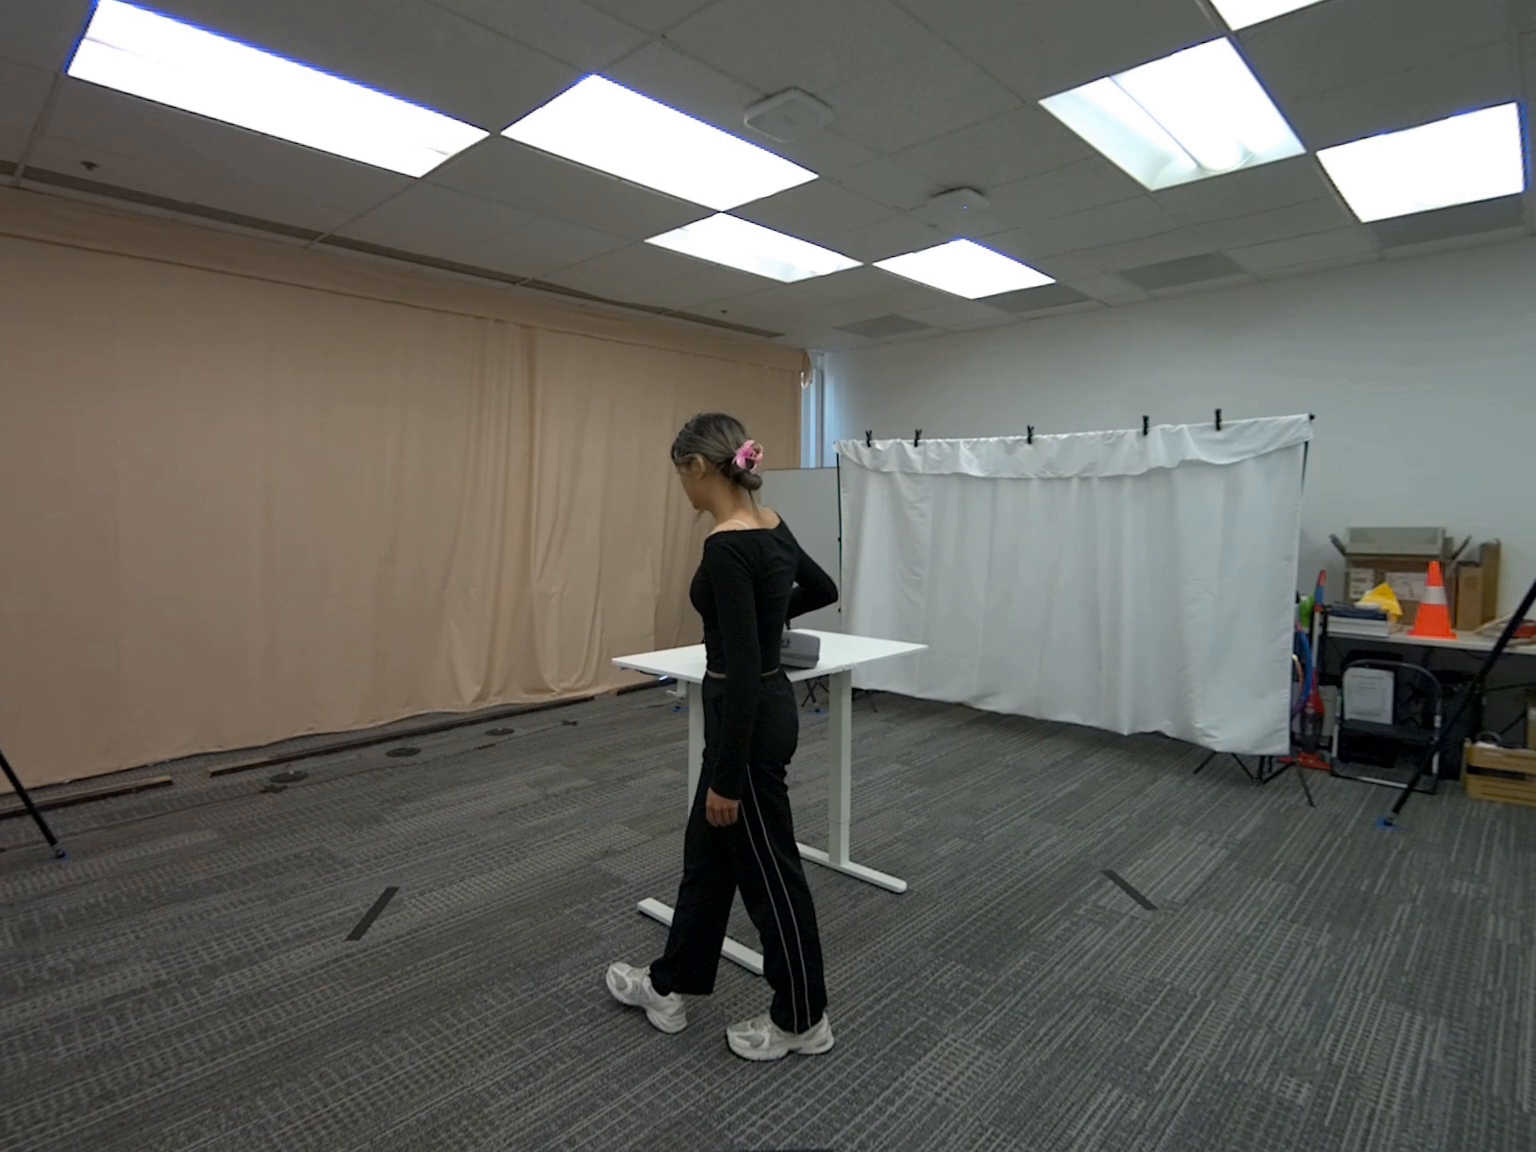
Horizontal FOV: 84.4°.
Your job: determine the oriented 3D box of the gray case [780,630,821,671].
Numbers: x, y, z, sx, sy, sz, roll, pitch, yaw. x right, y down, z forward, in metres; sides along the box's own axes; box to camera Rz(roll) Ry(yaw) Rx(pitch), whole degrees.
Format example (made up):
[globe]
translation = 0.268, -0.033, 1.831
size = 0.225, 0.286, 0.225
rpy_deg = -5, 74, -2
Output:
[gray case]
translation = 0.002, 0.213, 2.645
size = 0.266, 0.104, 0.251
rpy_deg = 6, -6, 42
